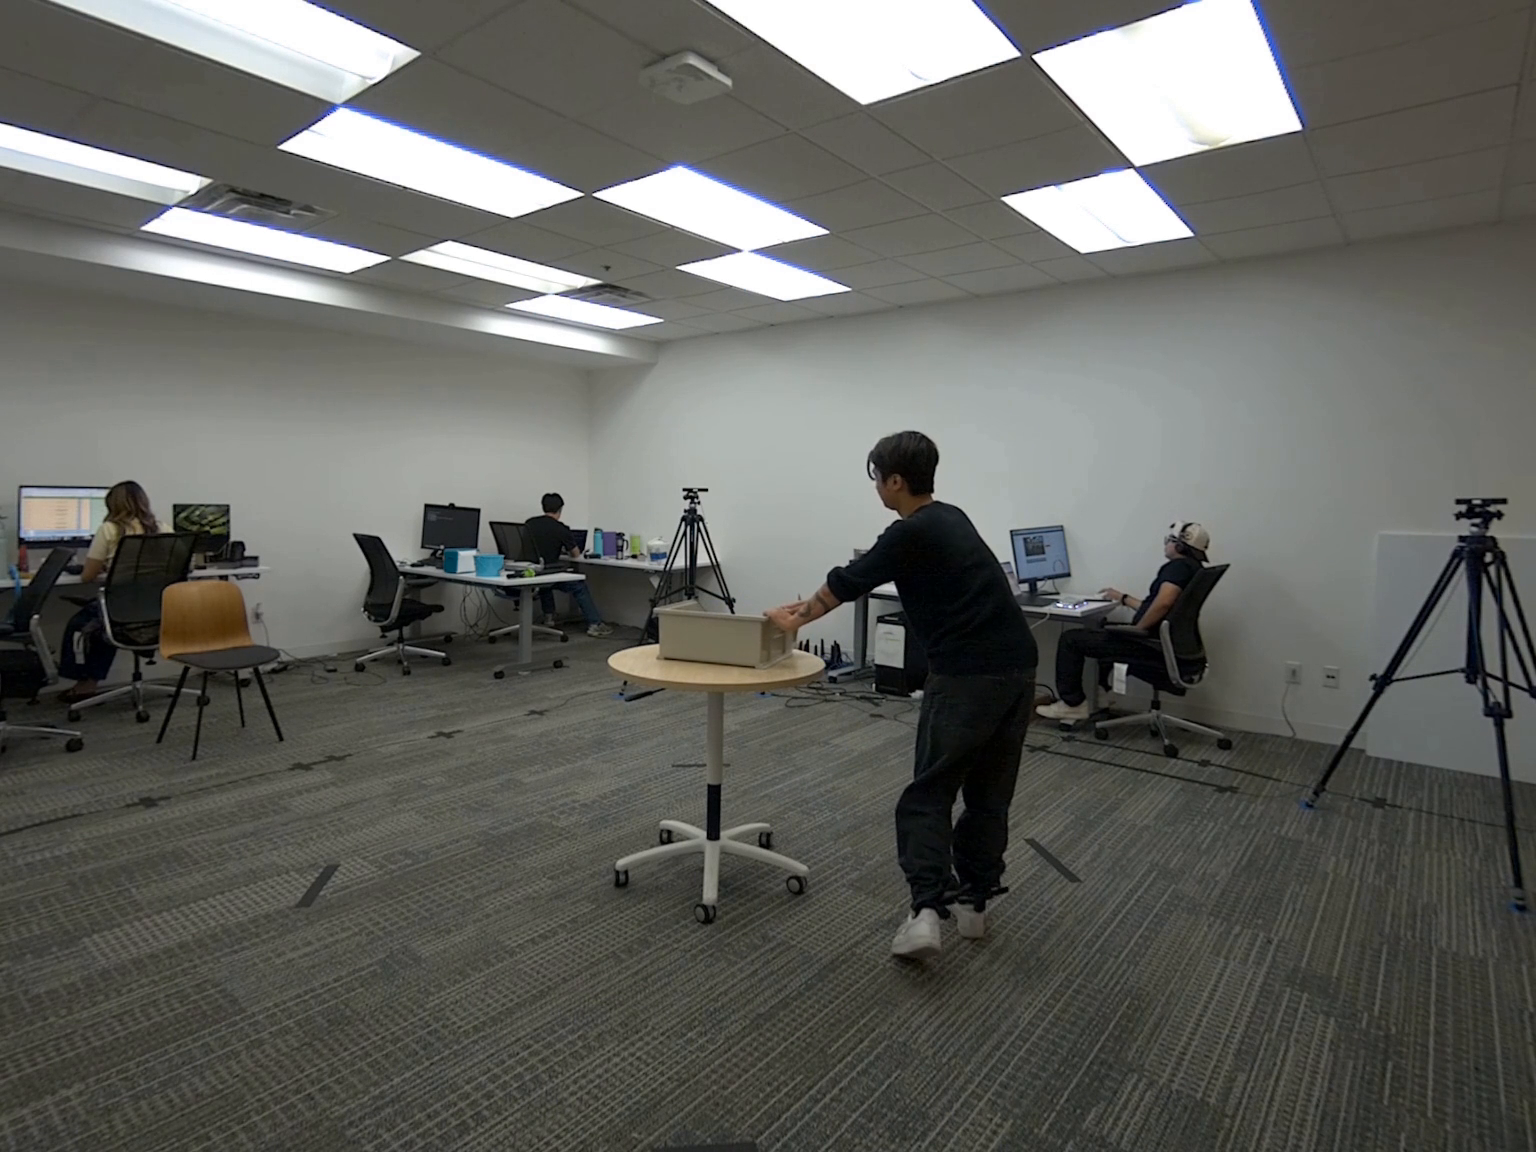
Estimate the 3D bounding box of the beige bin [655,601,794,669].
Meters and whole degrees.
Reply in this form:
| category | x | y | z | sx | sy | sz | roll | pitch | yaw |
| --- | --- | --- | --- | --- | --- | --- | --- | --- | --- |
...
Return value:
| category | x | y | z | sx | sy | sz | roll | pitch | yaw |
| --- | --- | --- | --- | --- | --- | --- | --- | --- | --- |
| beige bin | -0.156 | 0.201 | 3.095 | 0.432 | 0.188 | 0.371 | 3 | 7 | 21 |
